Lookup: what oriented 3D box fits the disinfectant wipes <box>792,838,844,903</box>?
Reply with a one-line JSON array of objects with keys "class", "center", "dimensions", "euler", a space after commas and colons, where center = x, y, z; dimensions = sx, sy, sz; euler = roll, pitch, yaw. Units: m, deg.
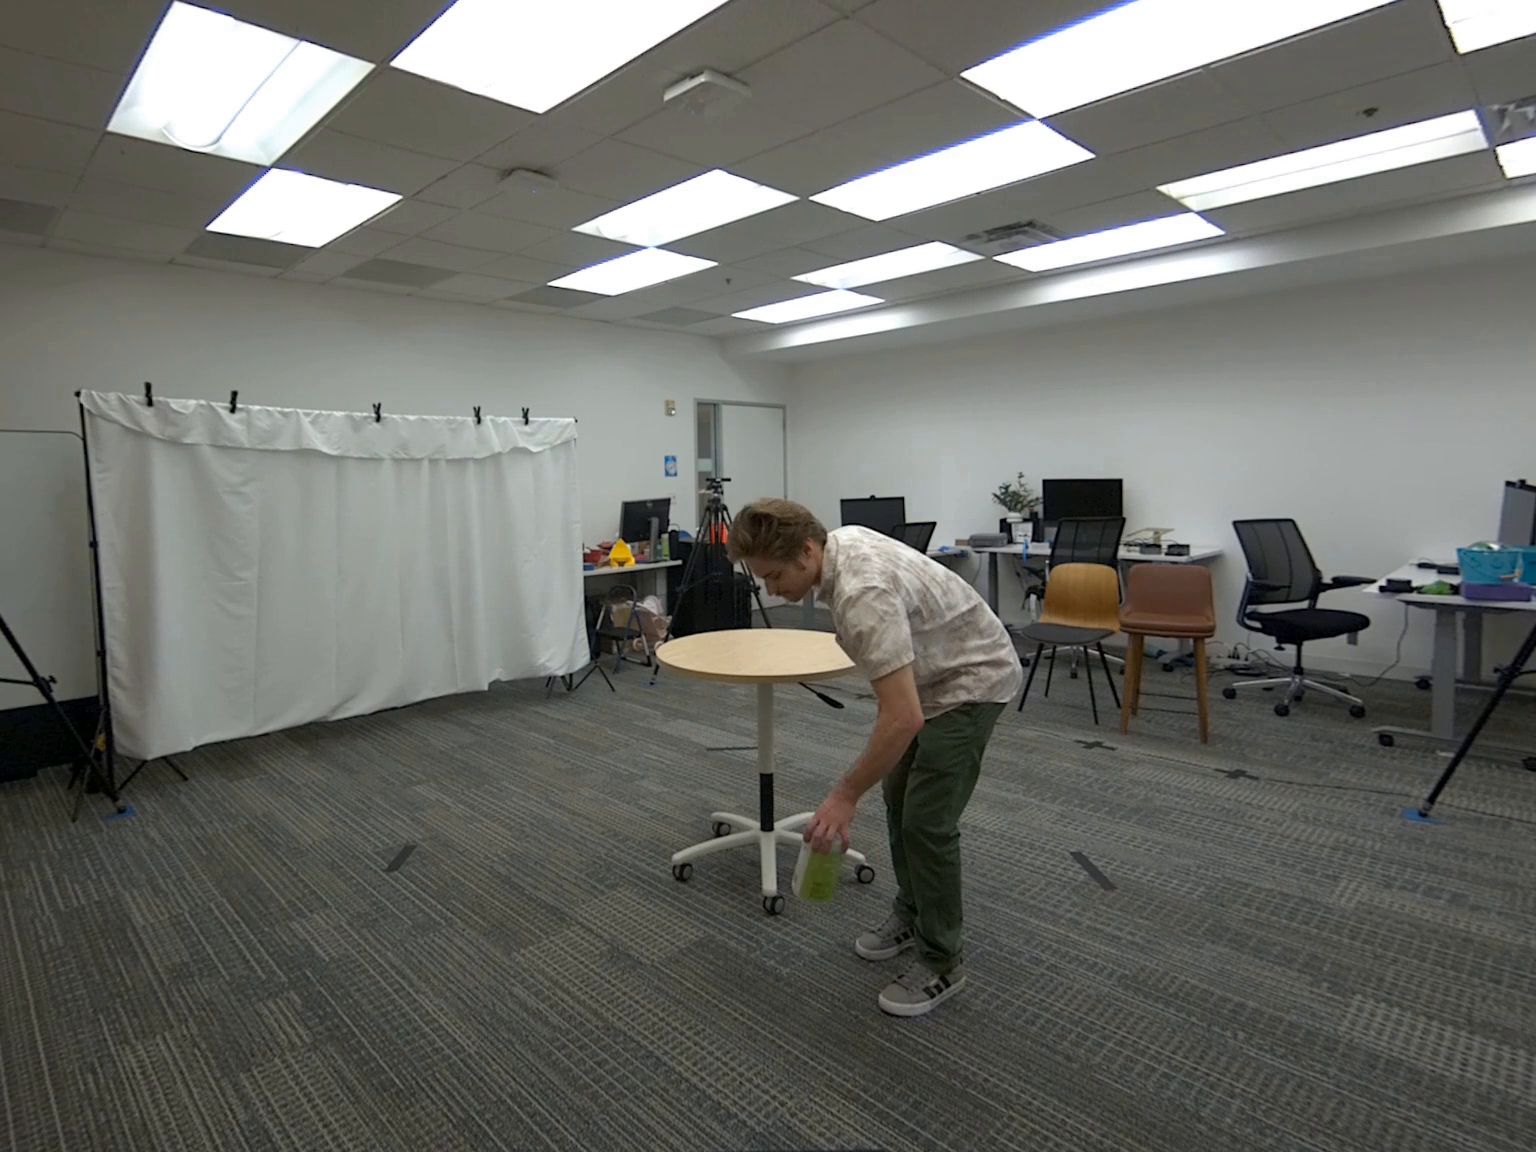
[{"class": "disinfectant wipes", "center": [0.142, 0.719, 2.158], "dimensions": [0.117, 0.214, 0.120], "euler": [6, 21, -4]}]
